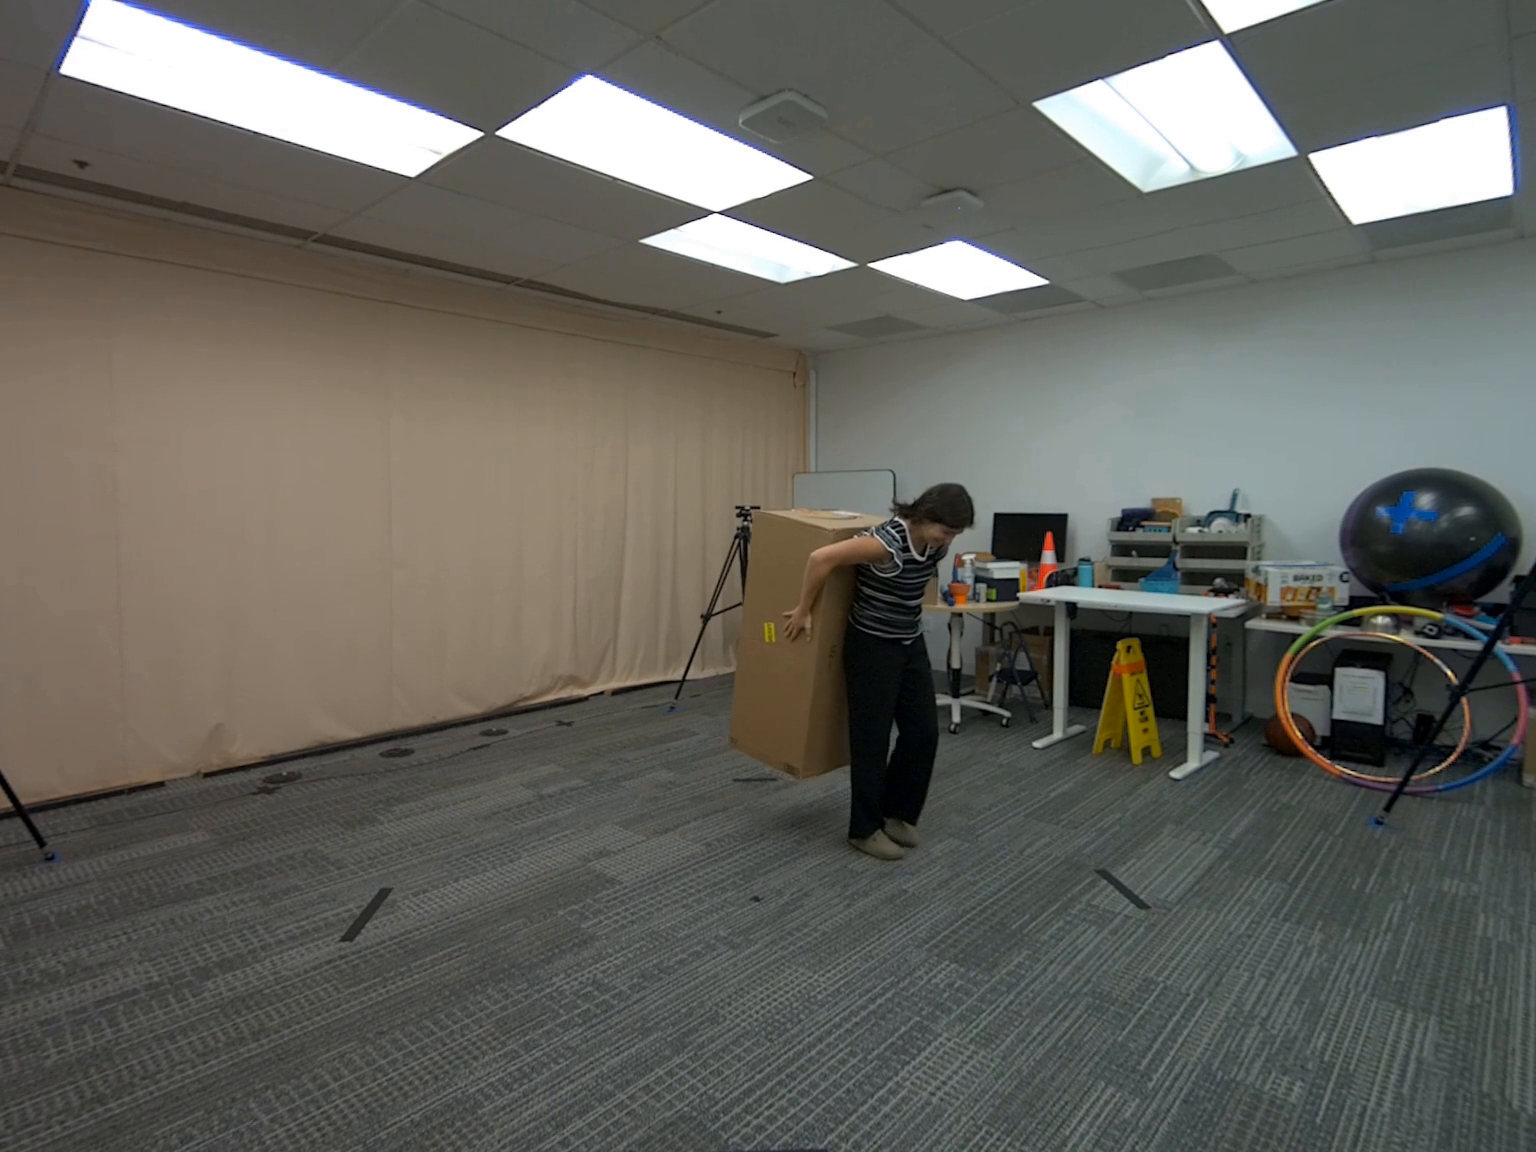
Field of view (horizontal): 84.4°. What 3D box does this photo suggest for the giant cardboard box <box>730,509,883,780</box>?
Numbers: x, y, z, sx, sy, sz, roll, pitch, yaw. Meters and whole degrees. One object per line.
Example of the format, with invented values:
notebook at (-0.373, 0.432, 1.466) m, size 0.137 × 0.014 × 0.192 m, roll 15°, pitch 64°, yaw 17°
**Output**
giant cardboard box at (0.225, 0.258, 3.593) m, size 0.560 × 1.020 × 0.442 m, roll -4°, pitch 14°, yaw -45°
